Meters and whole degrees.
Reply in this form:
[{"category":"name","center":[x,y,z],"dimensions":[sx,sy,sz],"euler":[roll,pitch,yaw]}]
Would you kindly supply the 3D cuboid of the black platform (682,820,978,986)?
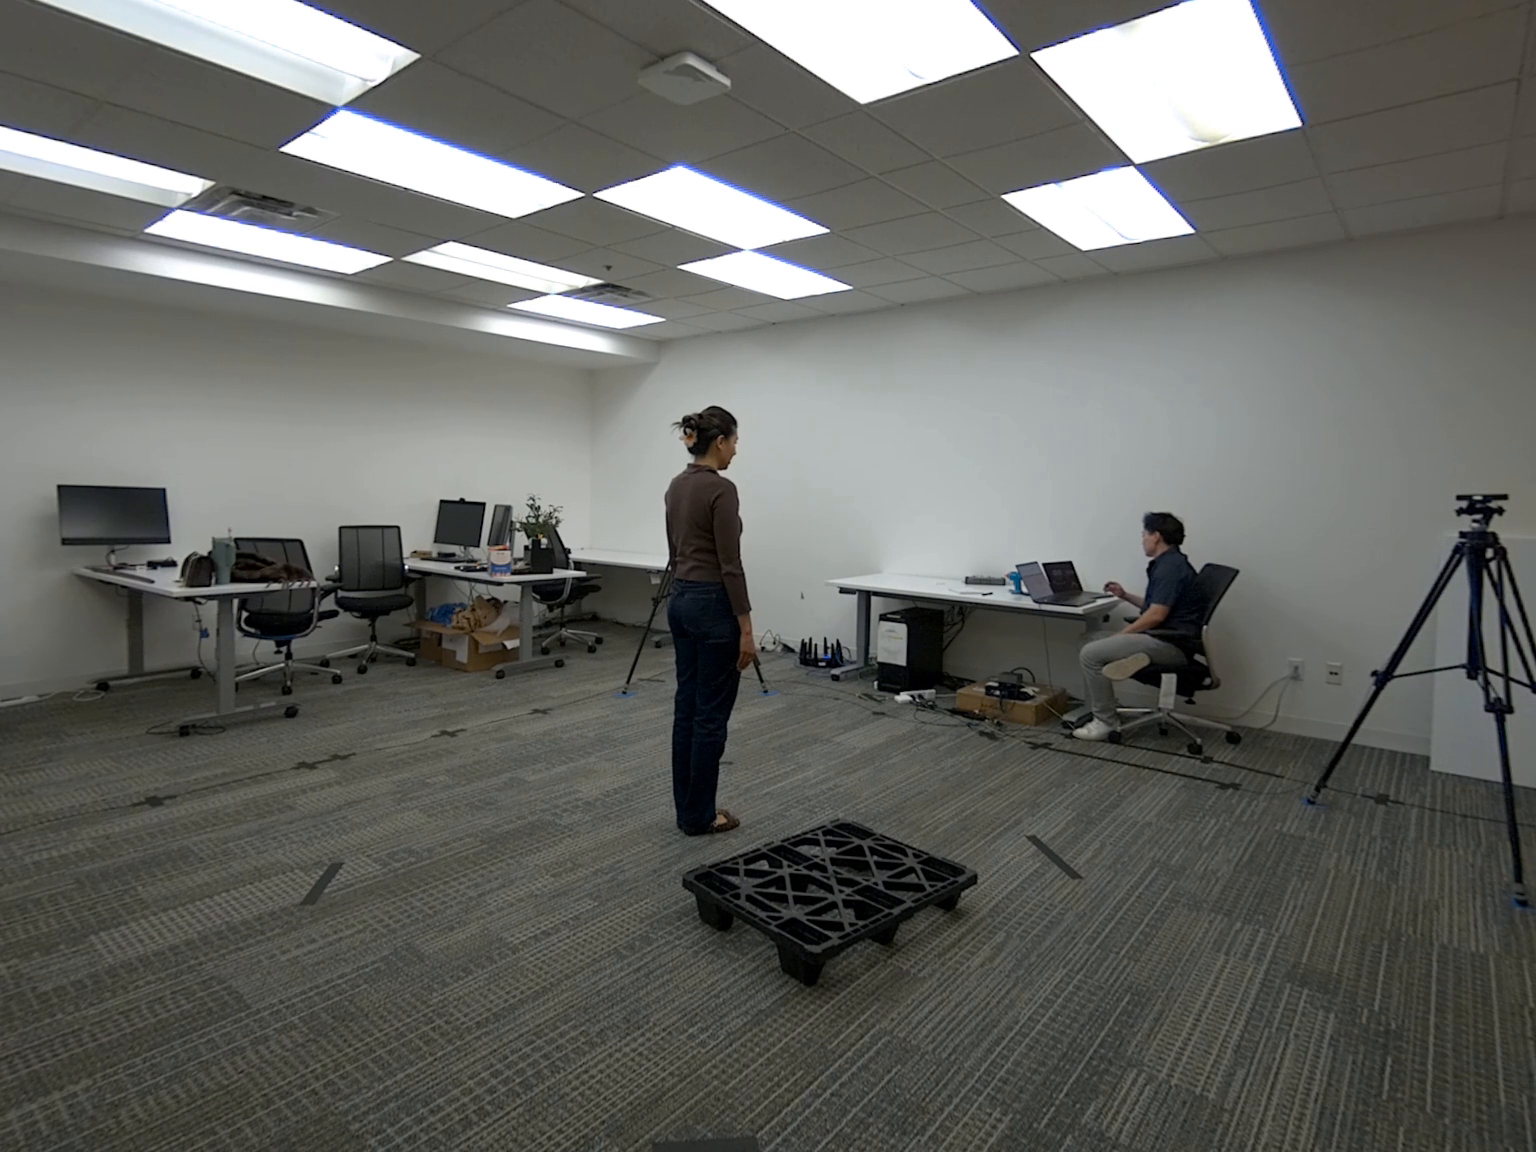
[{"category":"black platform","center":[0.197,1.037,2.789],"dimensions":[0.781,0.143,0.626],"euler":[-4,7,-42]}]
